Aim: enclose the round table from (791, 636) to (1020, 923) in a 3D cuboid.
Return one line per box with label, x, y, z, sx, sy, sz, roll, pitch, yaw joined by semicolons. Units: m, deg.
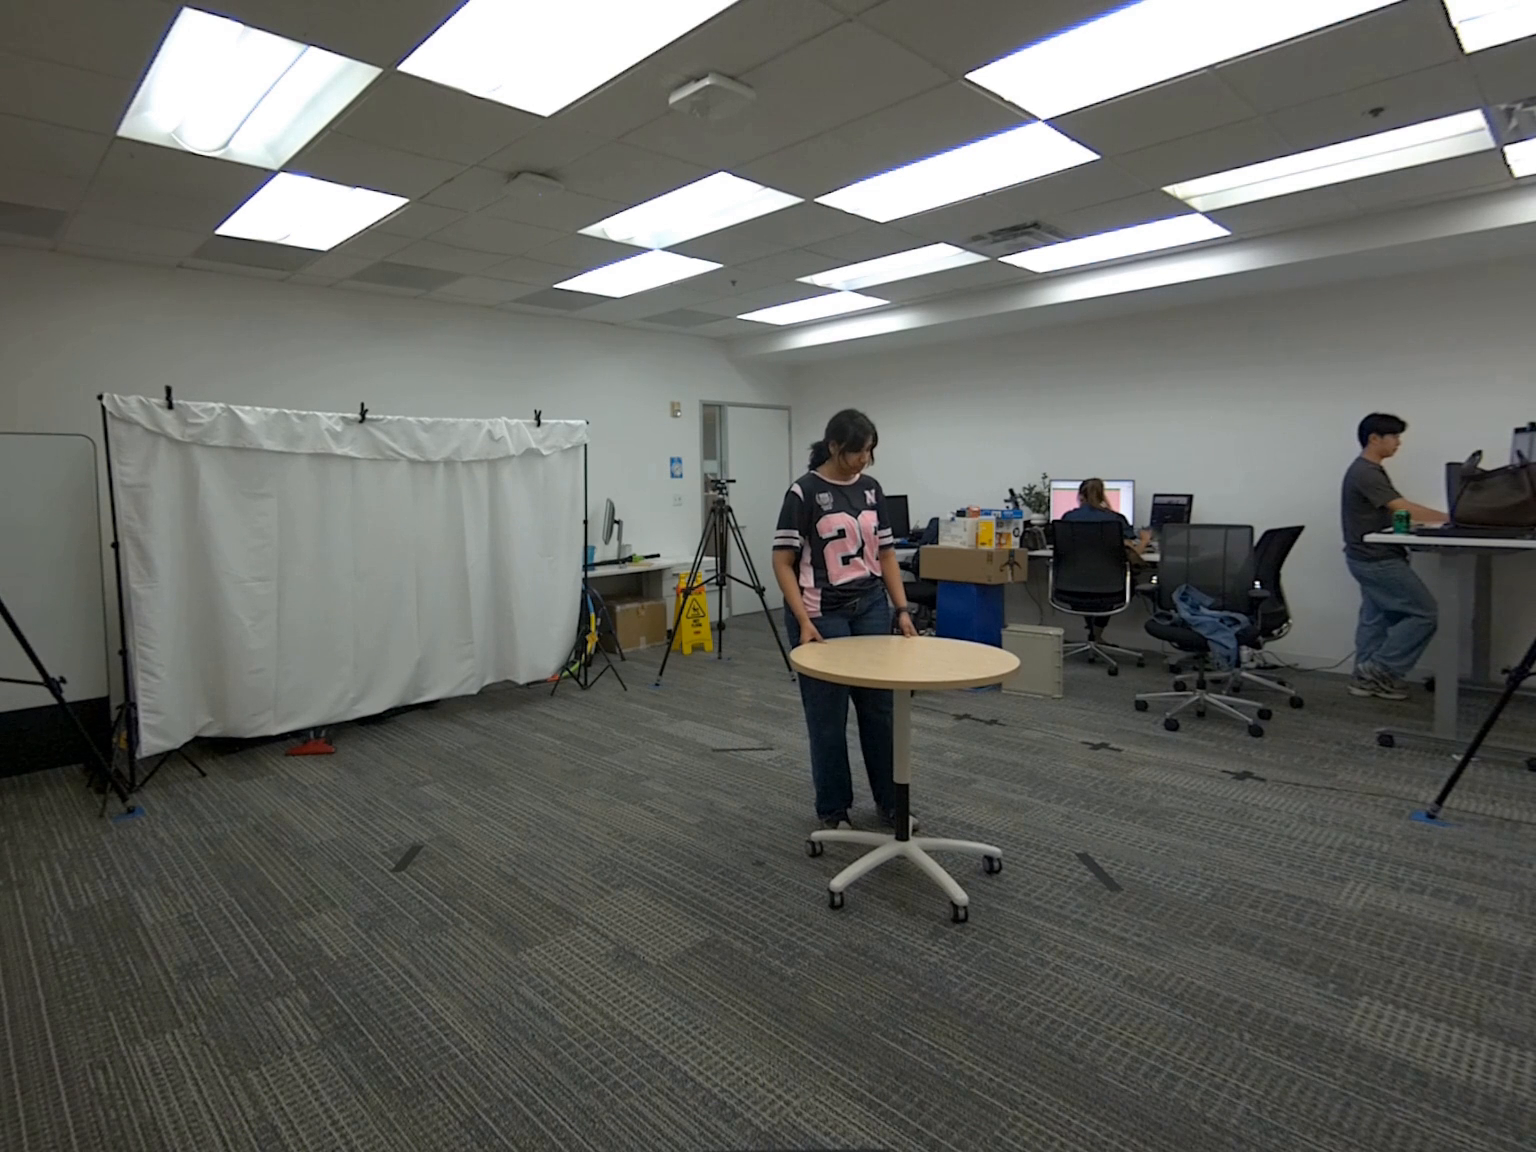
round table;0.457;0.670;2.951;0.763;0.791;0.767;-1;4;-2
